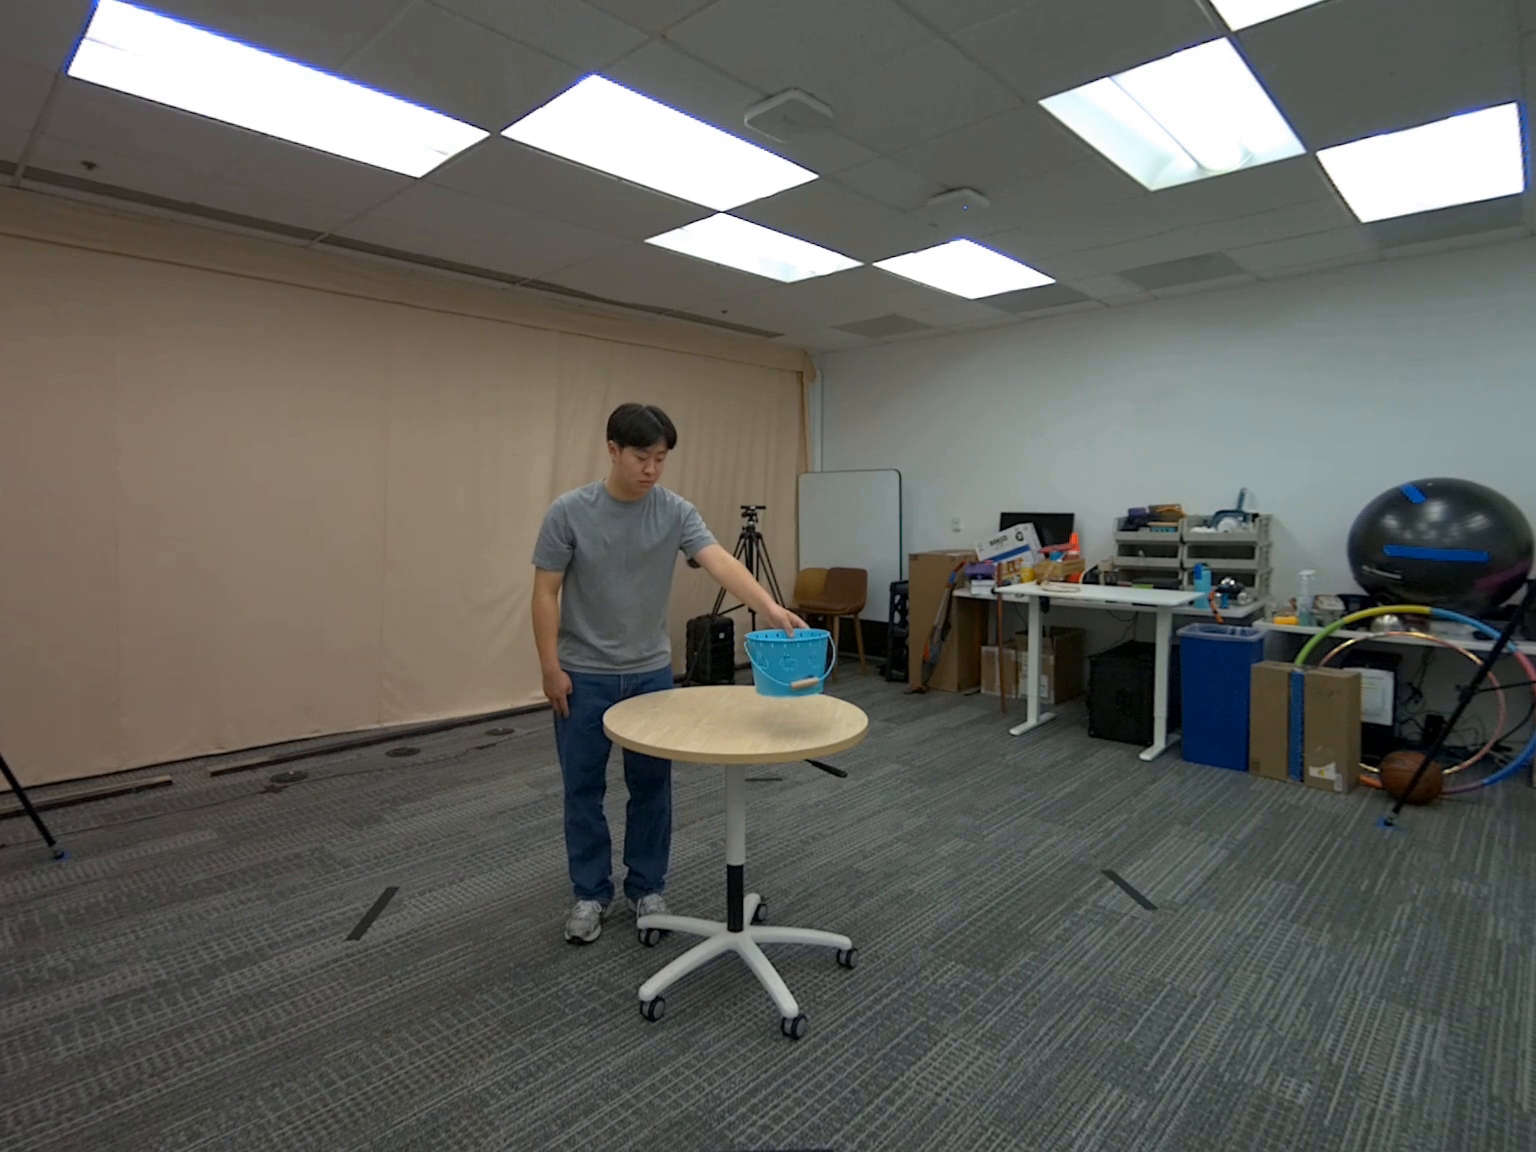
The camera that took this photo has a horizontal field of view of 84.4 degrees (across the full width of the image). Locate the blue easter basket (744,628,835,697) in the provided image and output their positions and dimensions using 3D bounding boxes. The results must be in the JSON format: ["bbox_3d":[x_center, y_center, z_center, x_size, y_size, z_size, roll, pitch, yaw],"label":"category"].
[{"bbox_3d":[0.058,0.239,2.249,0.243,0.155,0.244,-4,3,-2],"label":"blue easter basket"}]
